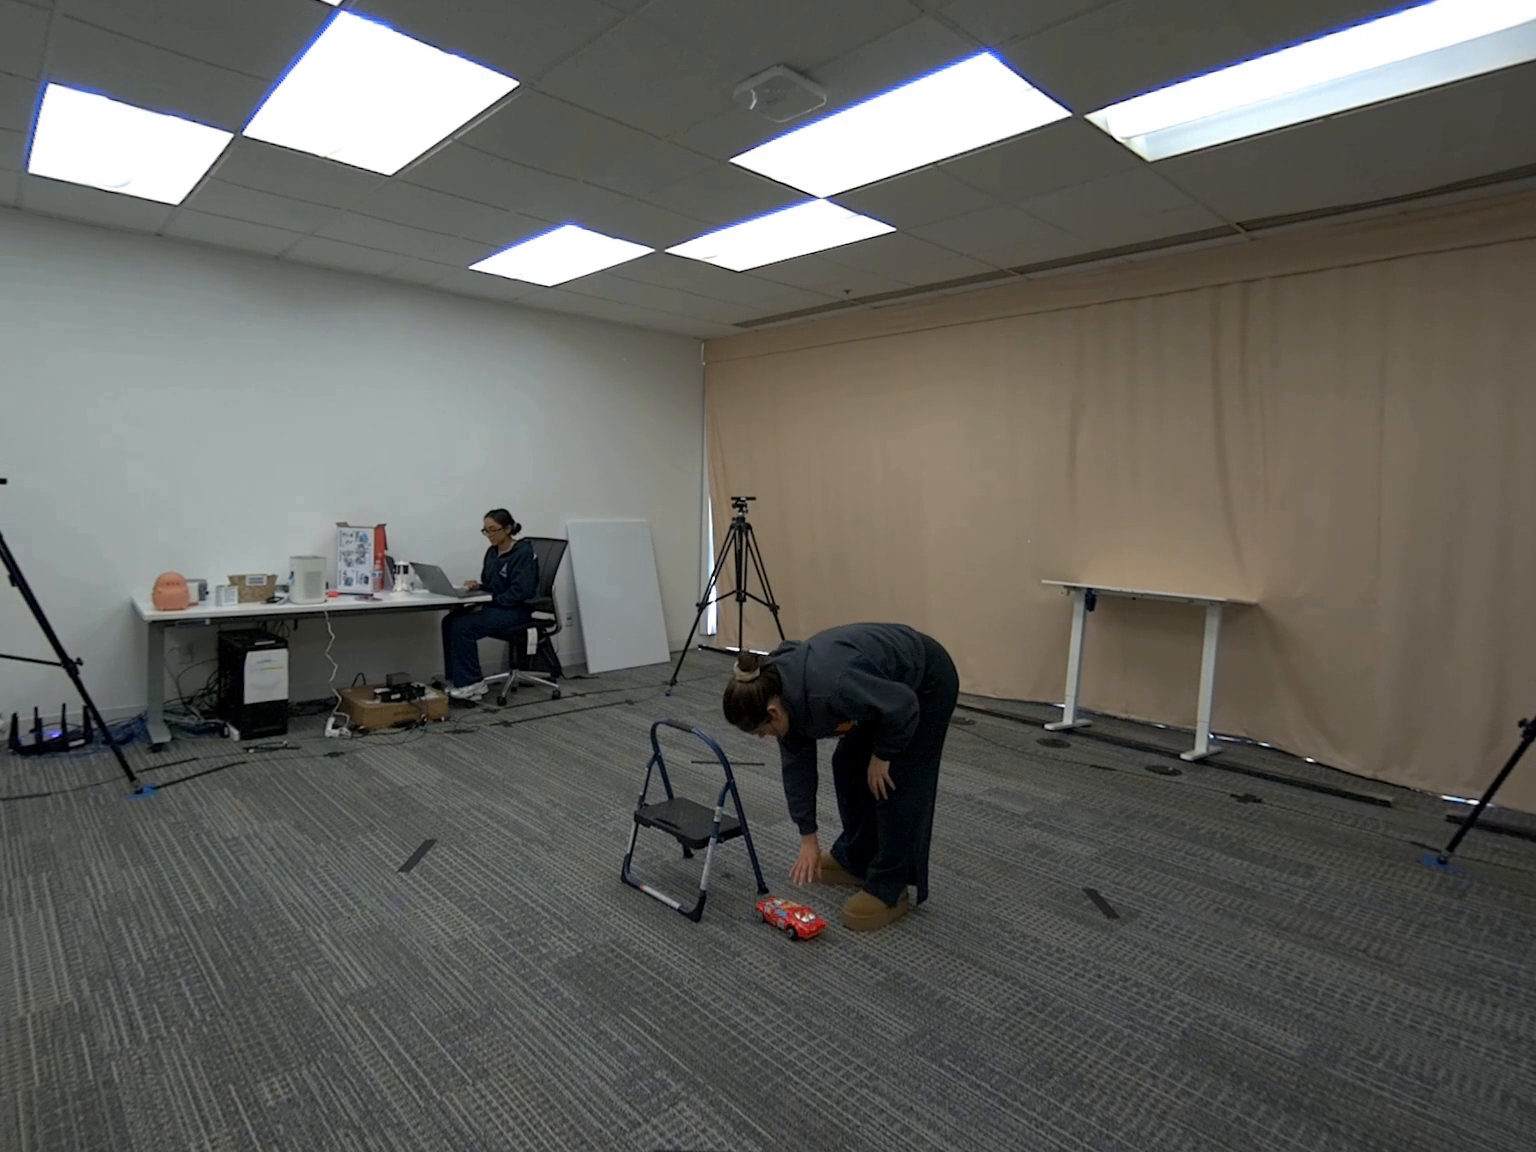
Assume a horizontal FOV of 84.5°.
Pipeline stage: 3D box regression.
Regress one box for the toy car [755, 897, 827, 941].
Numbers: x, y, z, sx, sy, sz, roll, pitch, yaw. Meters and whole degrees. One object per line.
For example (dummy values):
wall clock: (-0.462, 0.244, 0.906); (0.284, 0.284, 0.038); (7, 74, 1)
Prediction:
toy car: (0.071, 1.114, 2.741); (0.127, 0.083, 0.259); (-3, -4, -43)
